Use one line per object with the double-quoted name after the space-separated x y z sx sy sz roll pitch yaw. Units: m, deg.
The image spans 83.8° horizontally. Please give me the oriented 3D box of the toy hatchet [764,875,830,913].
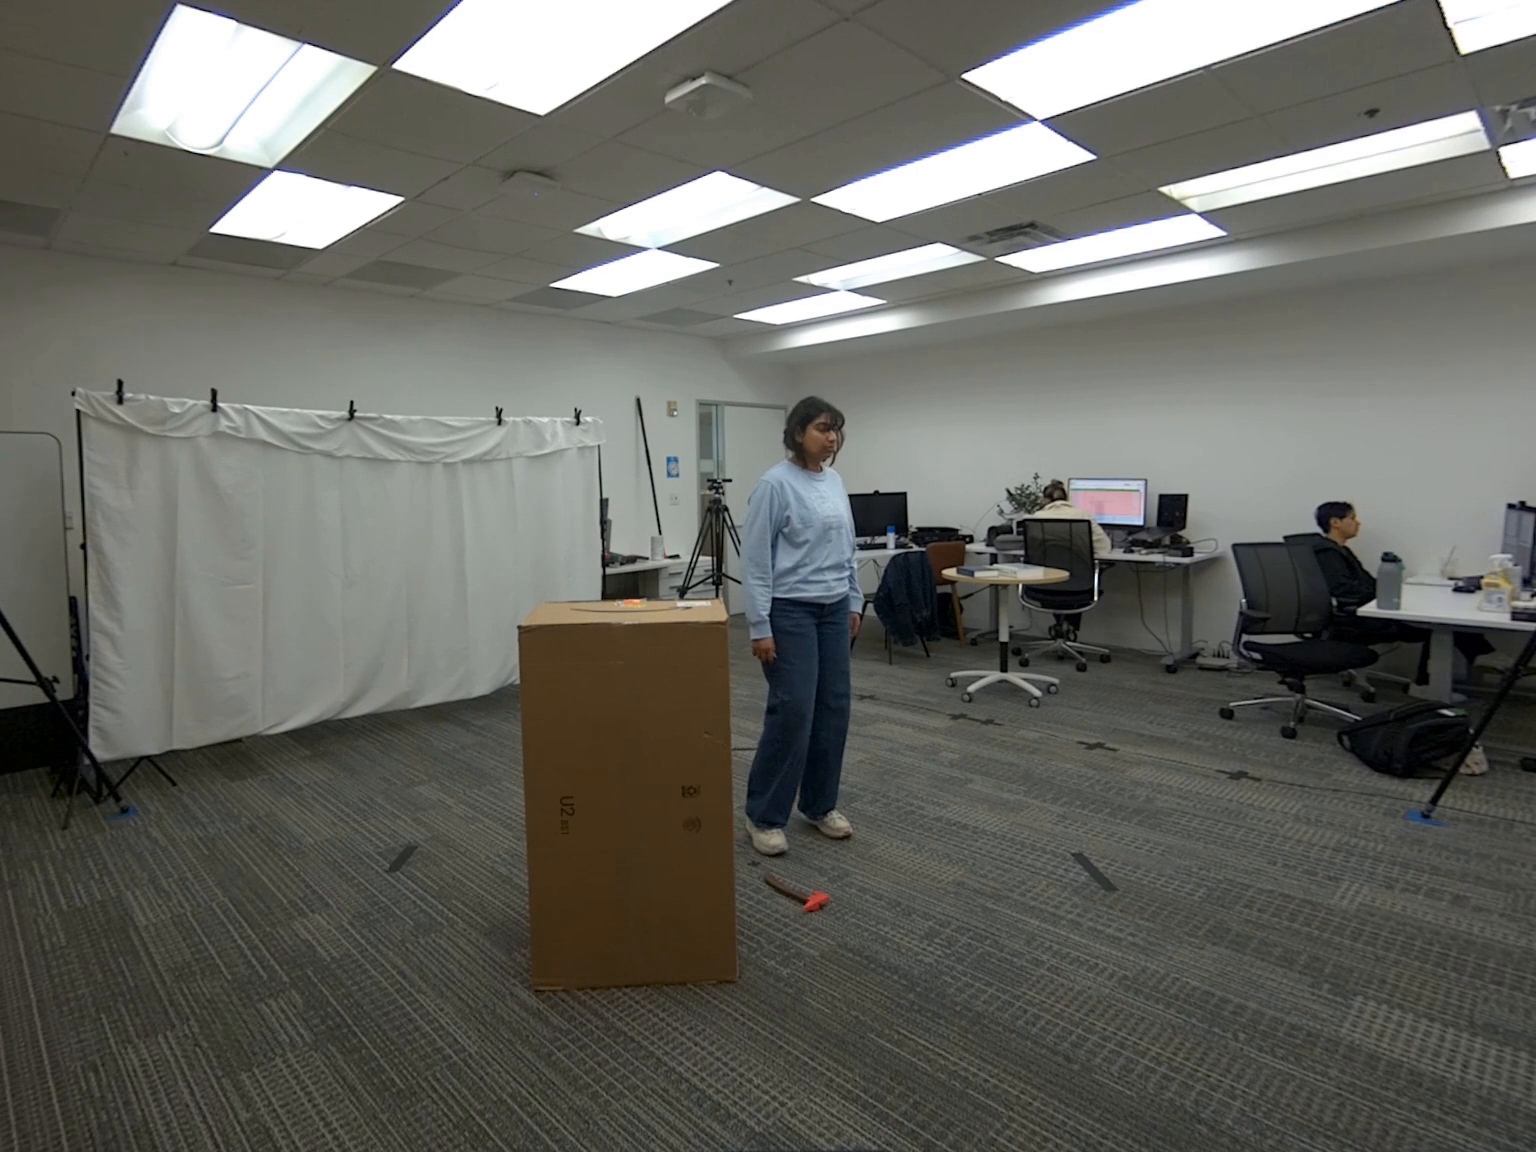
0.109 1.059 2.876 0.128 0.029 0.277 -3 5 -29 "toy hatchet"
